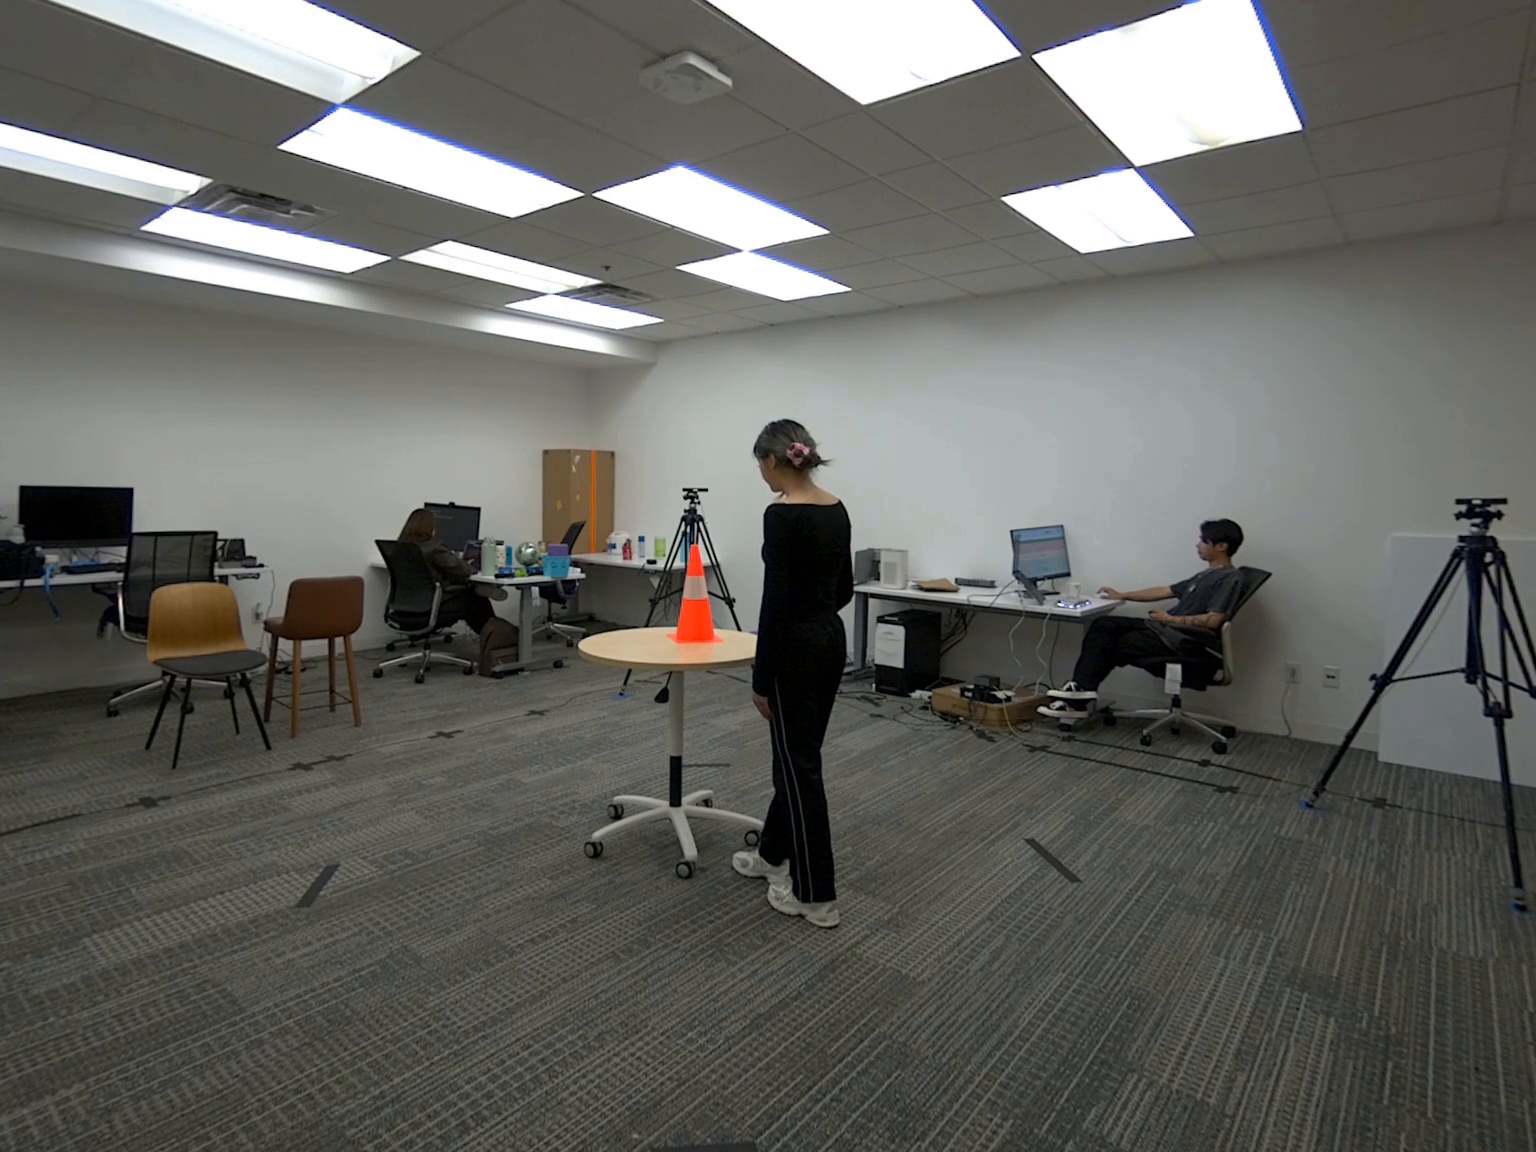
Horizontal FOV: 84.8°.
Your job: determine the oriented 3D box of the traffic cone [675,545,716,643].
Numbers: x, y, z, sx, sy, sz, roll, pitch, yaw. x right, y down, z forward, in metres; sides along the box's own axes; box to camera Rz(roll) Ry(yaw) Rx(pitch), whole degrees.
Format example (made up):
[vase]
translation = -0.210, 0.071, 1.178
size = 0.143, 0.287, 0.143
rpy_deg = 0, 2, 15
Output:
[traffic cone]
translation = -0.312, 0.063, 3.431
size = 0.201, 0.382, 0.208
rpy_deg = -1, 4, -22
